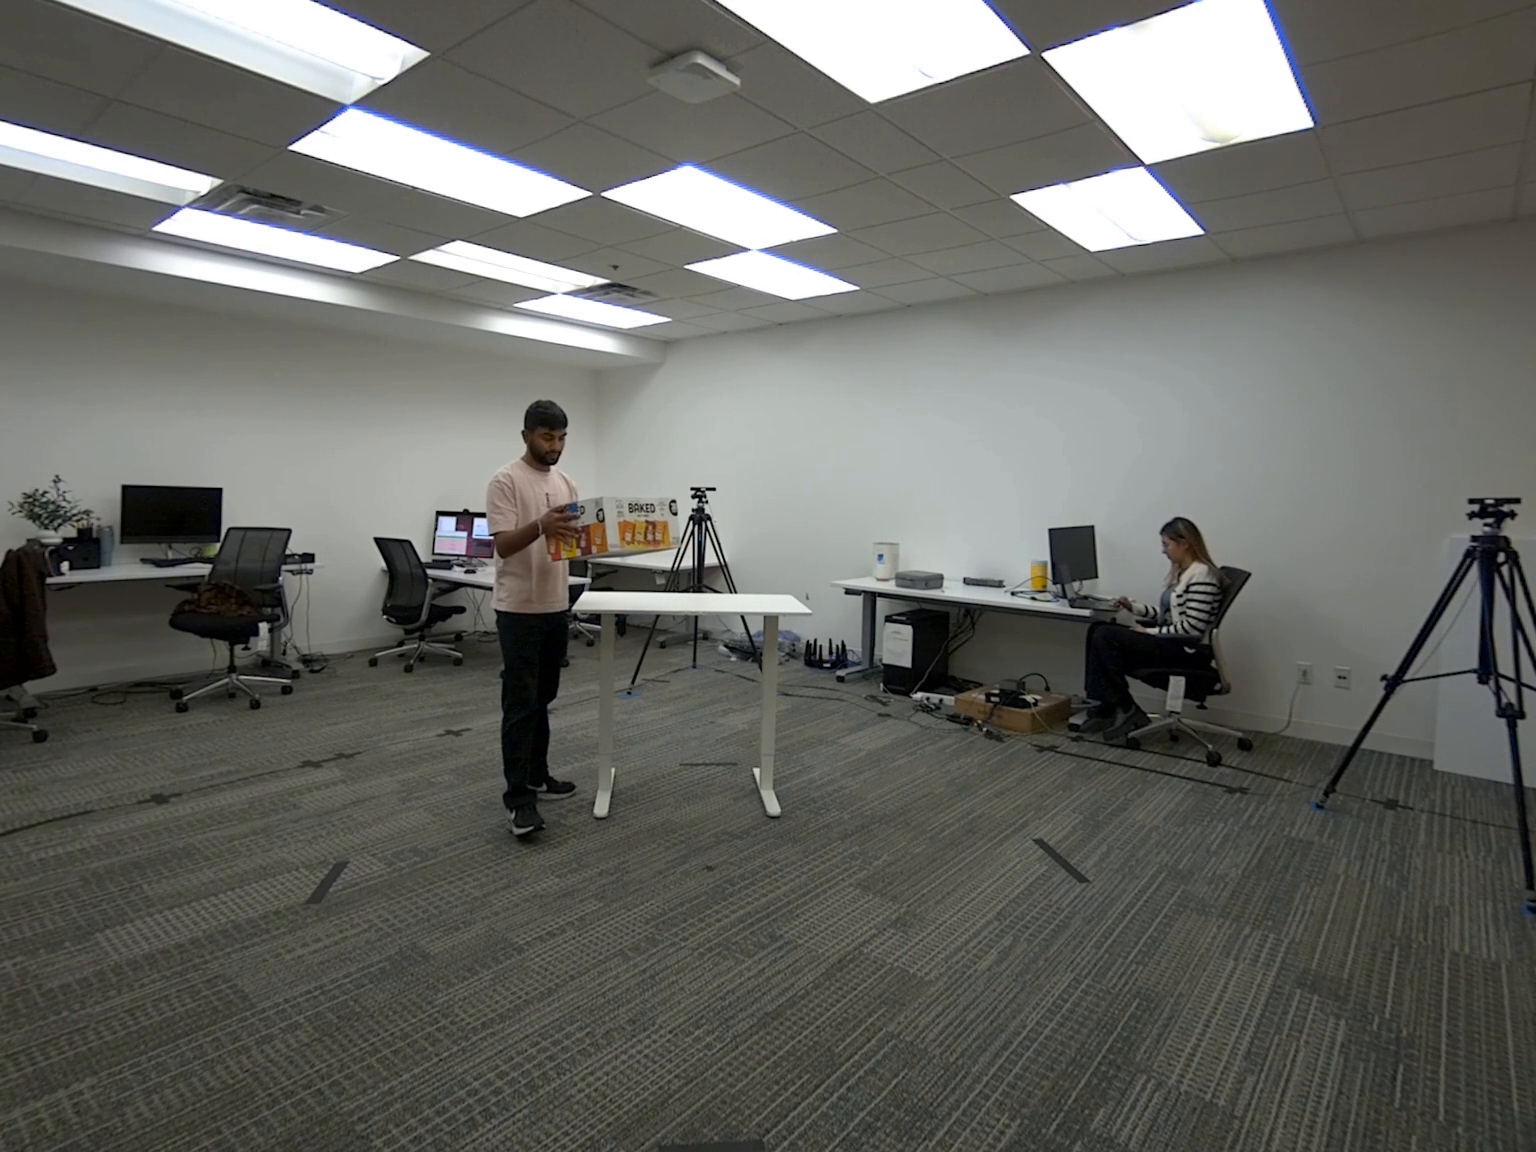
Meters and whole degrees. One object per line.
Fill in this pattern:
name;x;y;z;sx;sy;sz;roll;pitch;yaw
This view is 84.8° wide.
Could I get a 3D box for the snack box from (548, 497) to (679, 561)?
snack box;-0.615;-0.185;3.309;0.349;0.206;0.393;-7;-1;36
